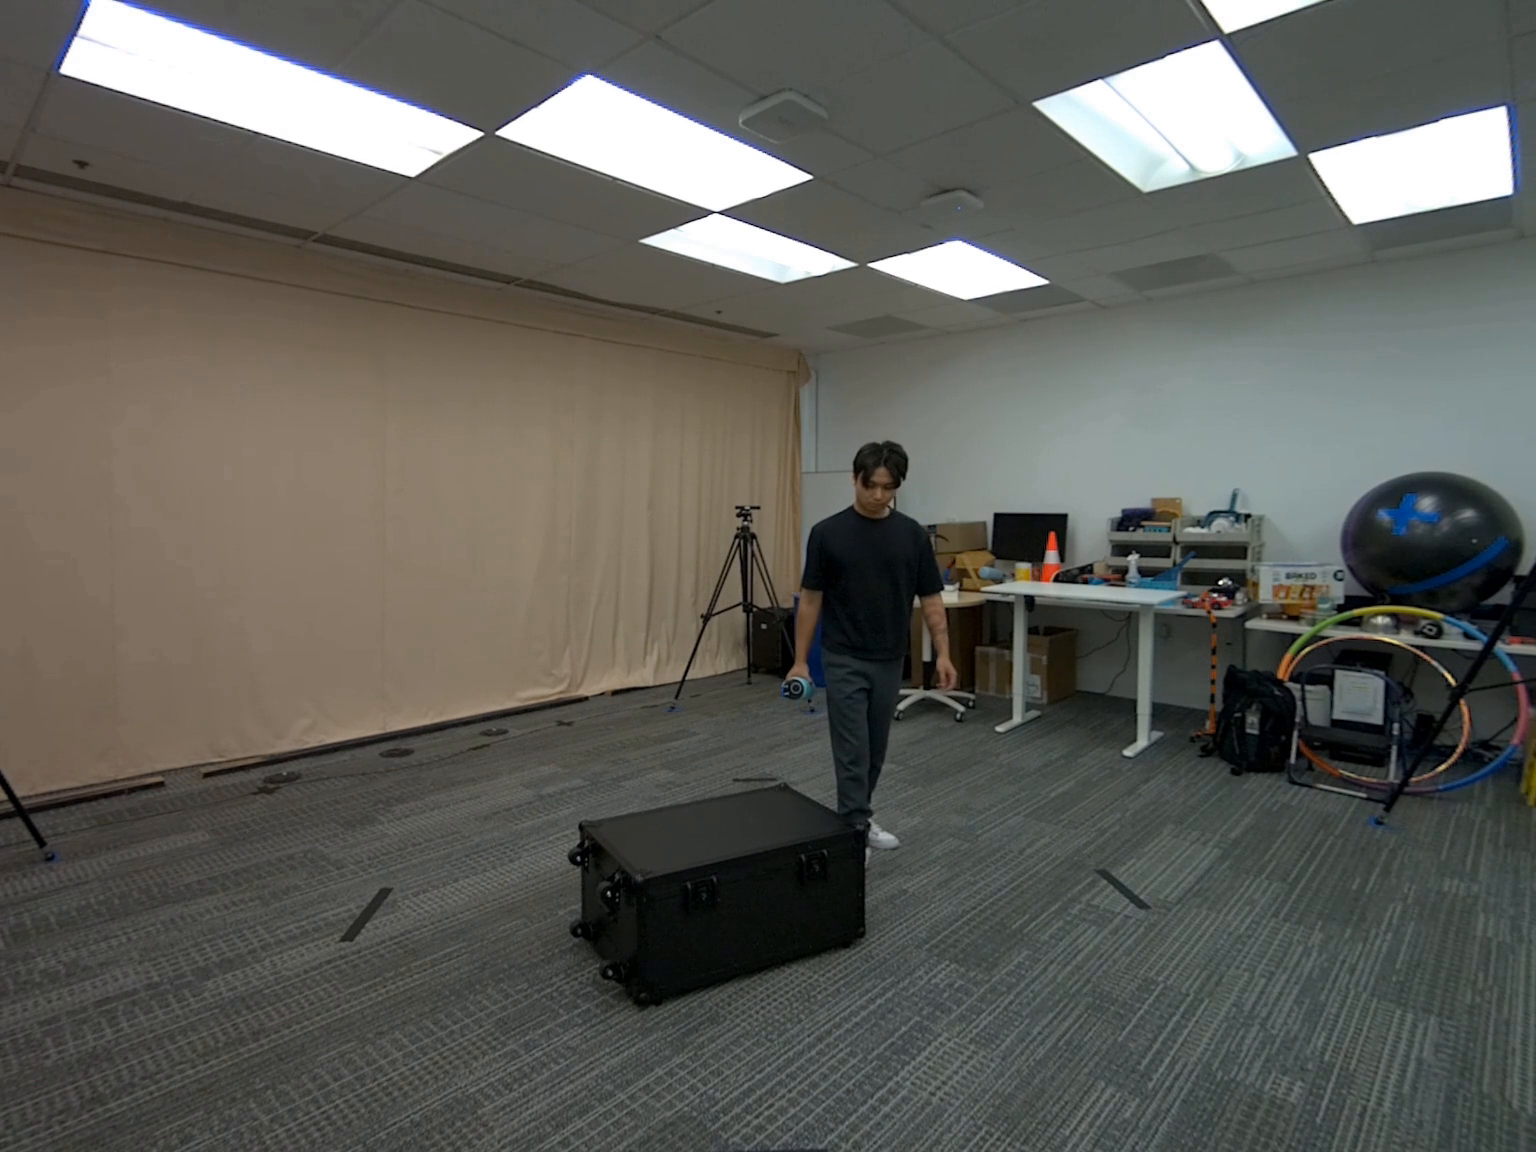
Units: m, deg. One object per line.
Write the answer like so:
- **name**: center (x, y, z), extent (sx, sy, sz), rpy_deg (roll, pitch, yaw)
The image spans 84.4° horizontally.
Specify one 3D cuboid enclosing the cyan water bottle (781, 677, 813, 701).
- **cyan water bottle**: center (0.131, 0.445, 3.325), extent (0.094, 0.093, 0.277), rpy_deg (1, -7, 14)
